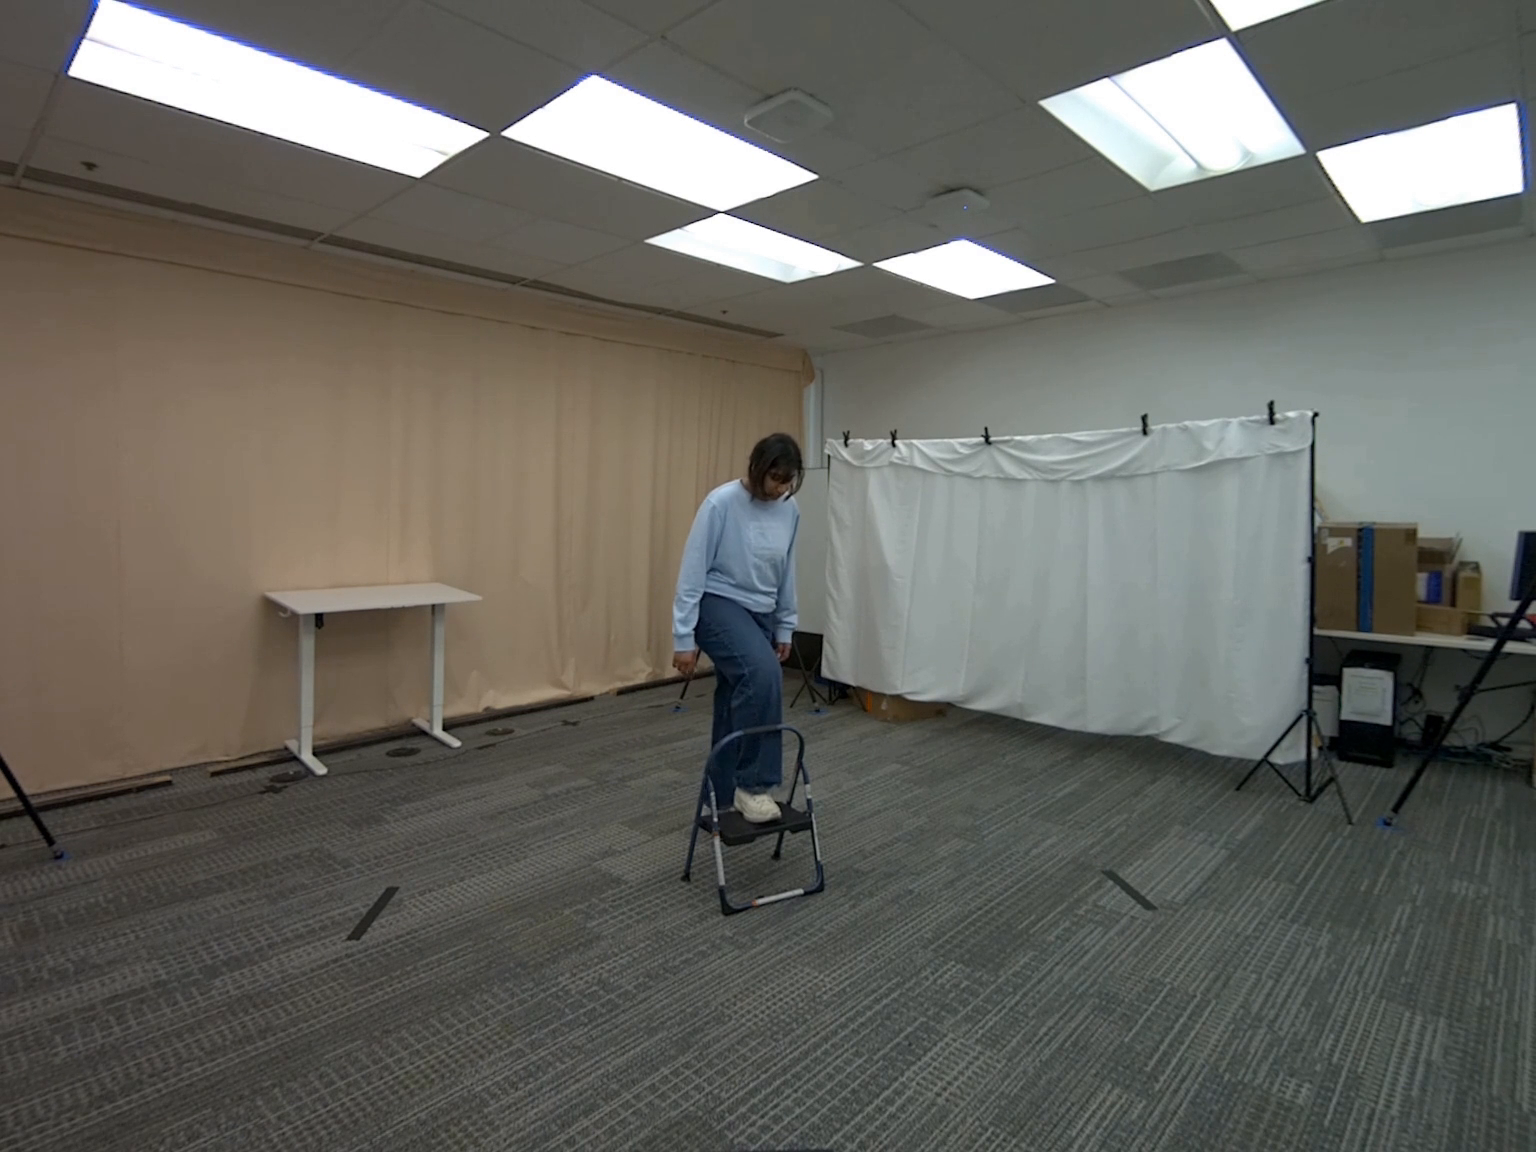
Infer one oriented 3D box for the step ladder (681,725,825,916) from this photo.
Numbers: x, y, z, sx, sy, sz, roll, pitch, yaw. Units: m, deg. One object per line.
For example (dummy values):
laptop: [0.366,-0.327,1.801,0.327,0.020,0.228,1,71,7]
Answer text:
step ladder: [-0.055,0.836,3.083,0.419,0.605,0.359,-2,4,-30]
